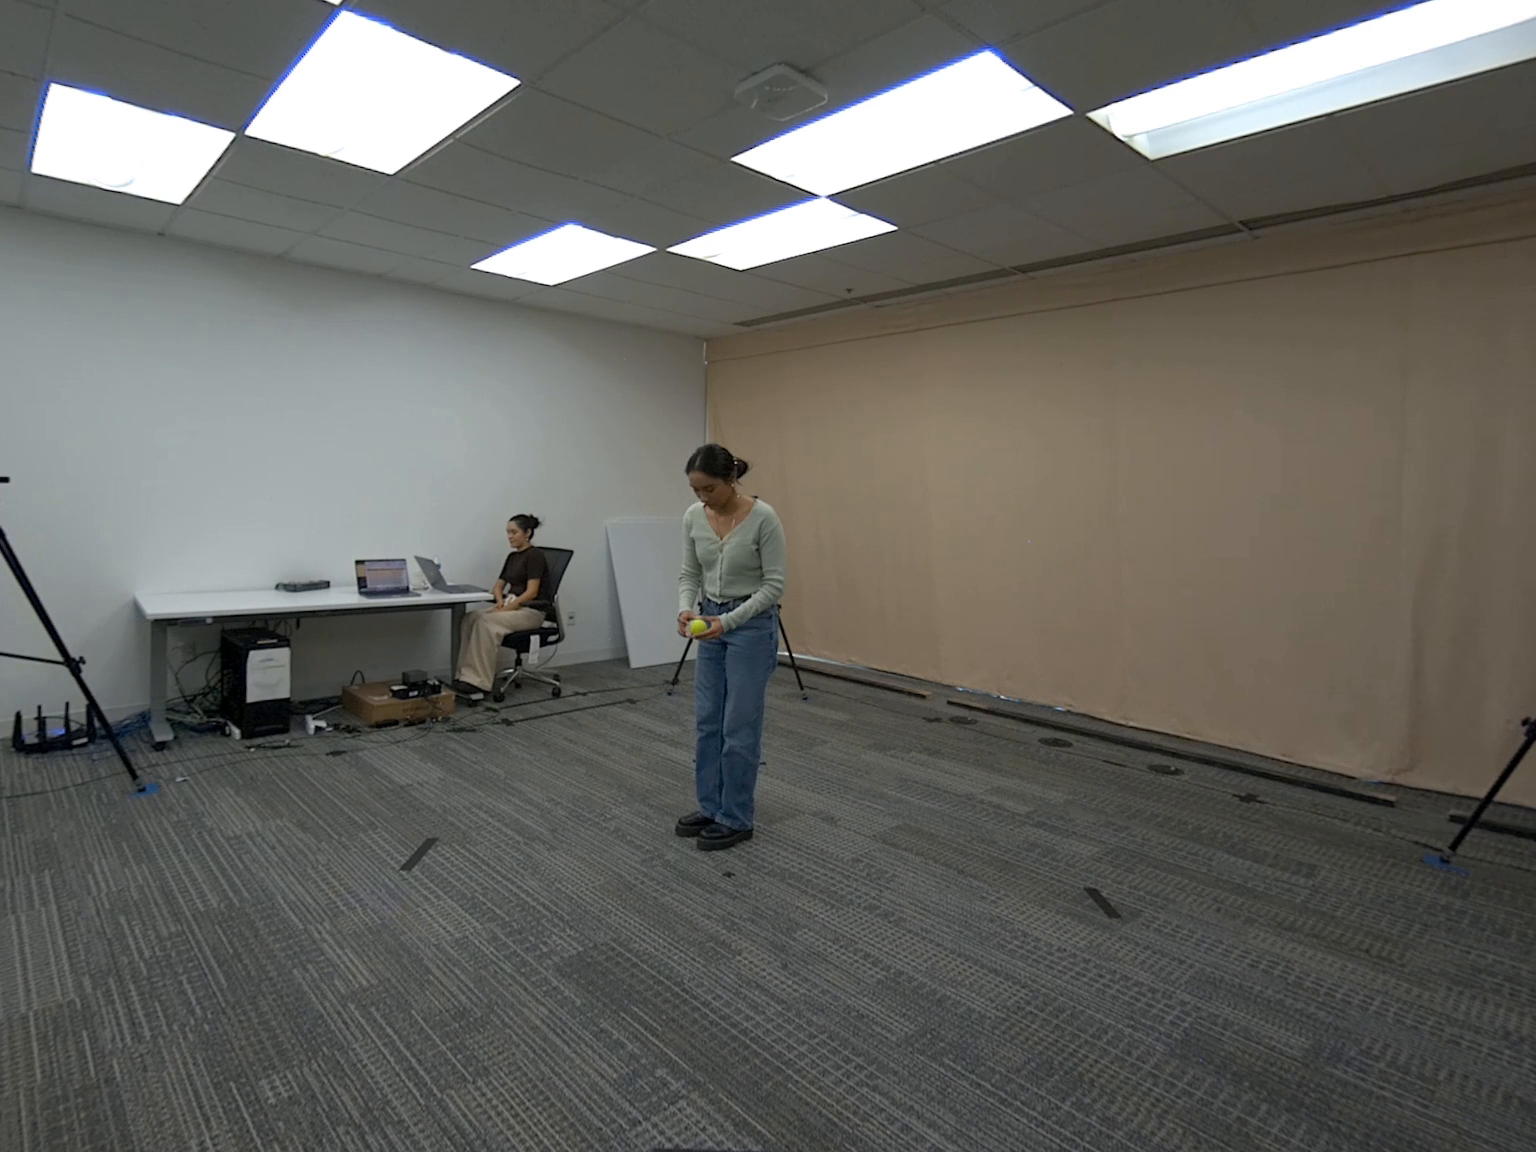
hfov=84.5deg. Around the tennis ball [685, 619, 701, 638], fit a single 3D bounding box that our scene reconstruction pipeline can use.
[{"bbox_3d":[-0.323,0.205,3.222,0.066,0.066,0.067,1,4,-1],"label":"tennis ball"}]
